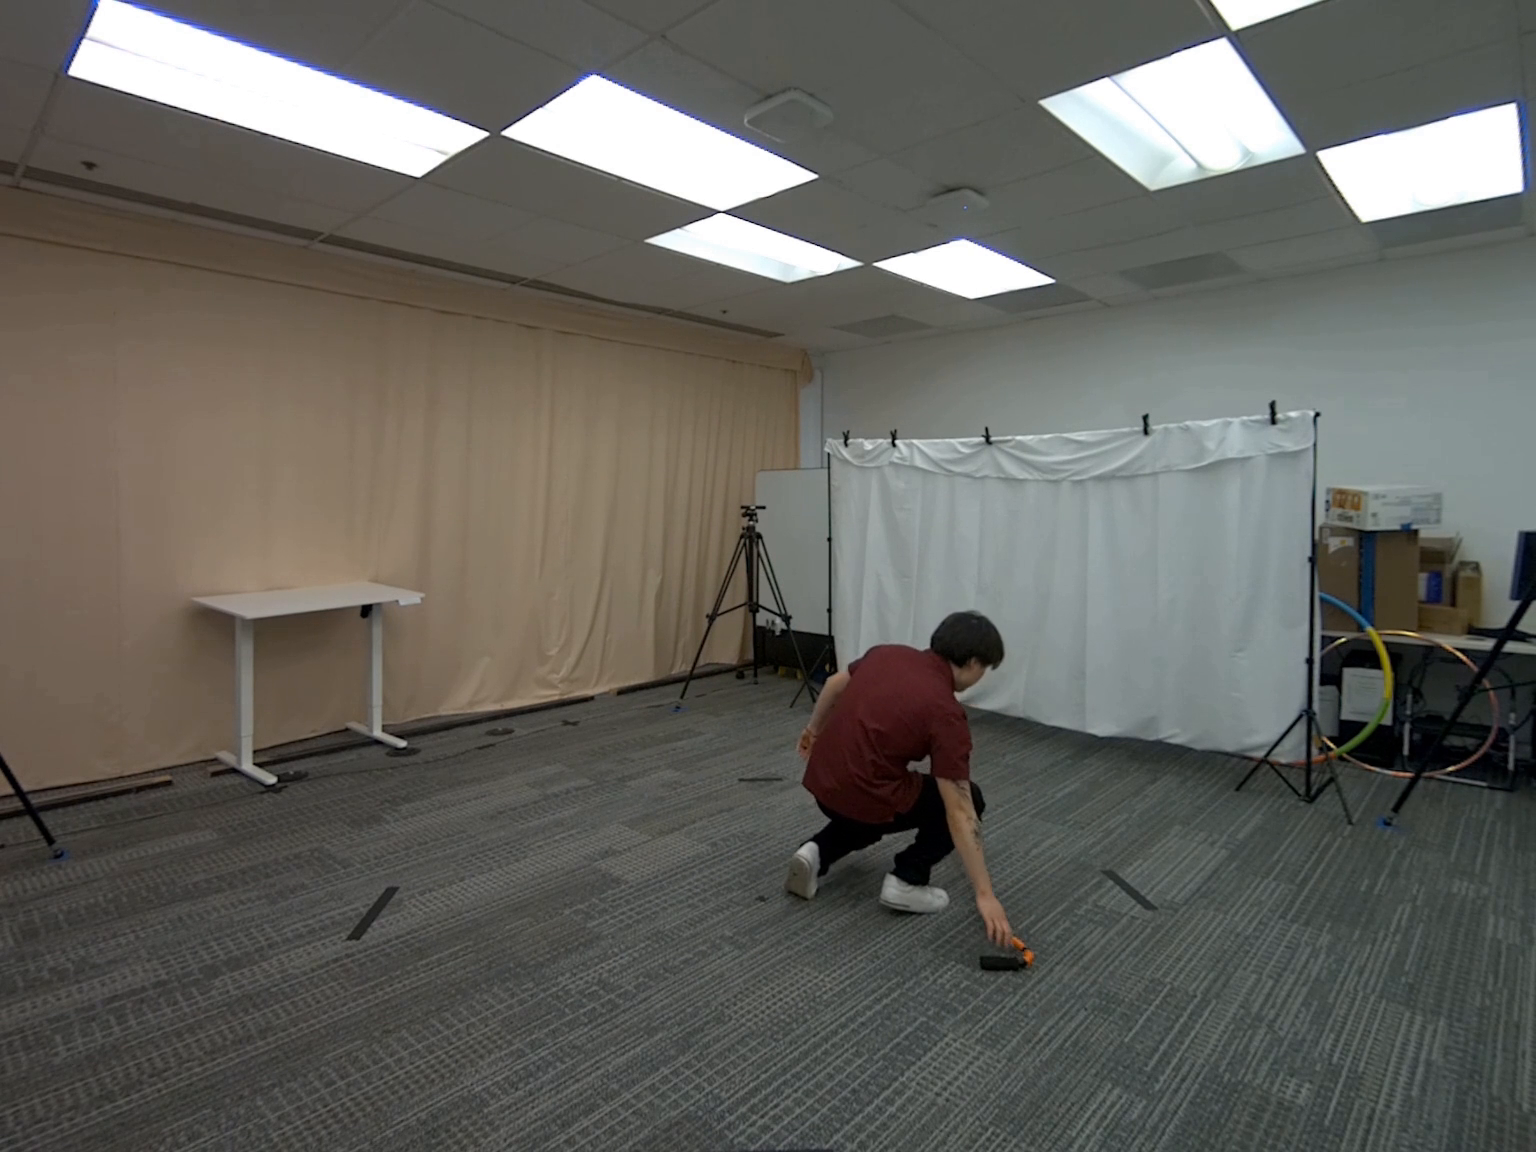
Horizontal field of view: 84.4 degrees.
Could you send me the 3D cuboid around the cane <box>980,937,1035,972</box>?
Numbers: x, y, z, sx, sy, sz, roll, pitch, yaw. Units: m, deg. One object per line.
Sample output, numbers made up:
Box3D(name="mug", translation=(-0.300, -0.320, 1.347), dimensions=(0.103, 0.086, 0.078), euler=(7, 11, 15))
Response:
Box3D(name="cane", translation=(0.752, 1.092, 2.957), dimensions=(0.207, 0.151, 0.908), euler=(1, 8, 2))
